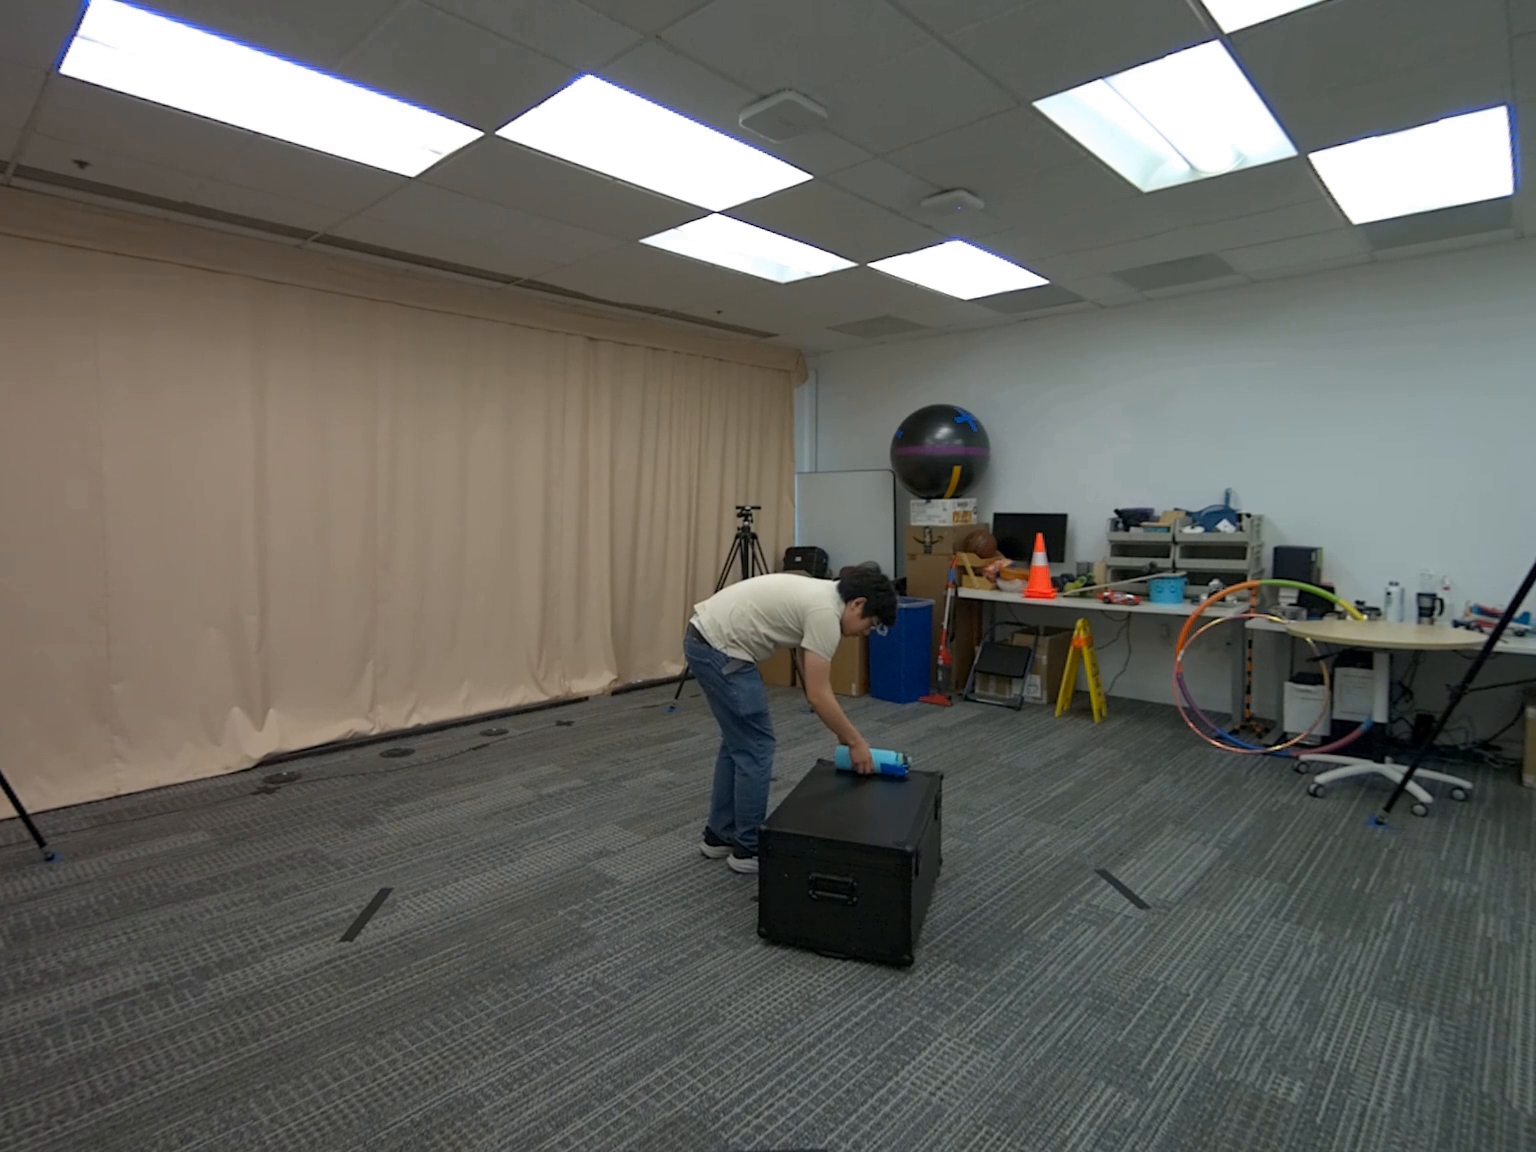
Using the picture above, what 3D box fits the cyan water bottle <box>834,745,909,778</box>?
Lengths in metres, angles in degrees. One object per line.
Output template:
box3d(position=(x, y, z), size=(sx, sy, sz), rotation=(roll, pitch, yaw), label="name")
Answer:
box3d(position=(0.411, 0.708, 3.197), size=(0.289, 0.092, 0.091), rotation=(1, 4, 17), label="cyan water bottle")
